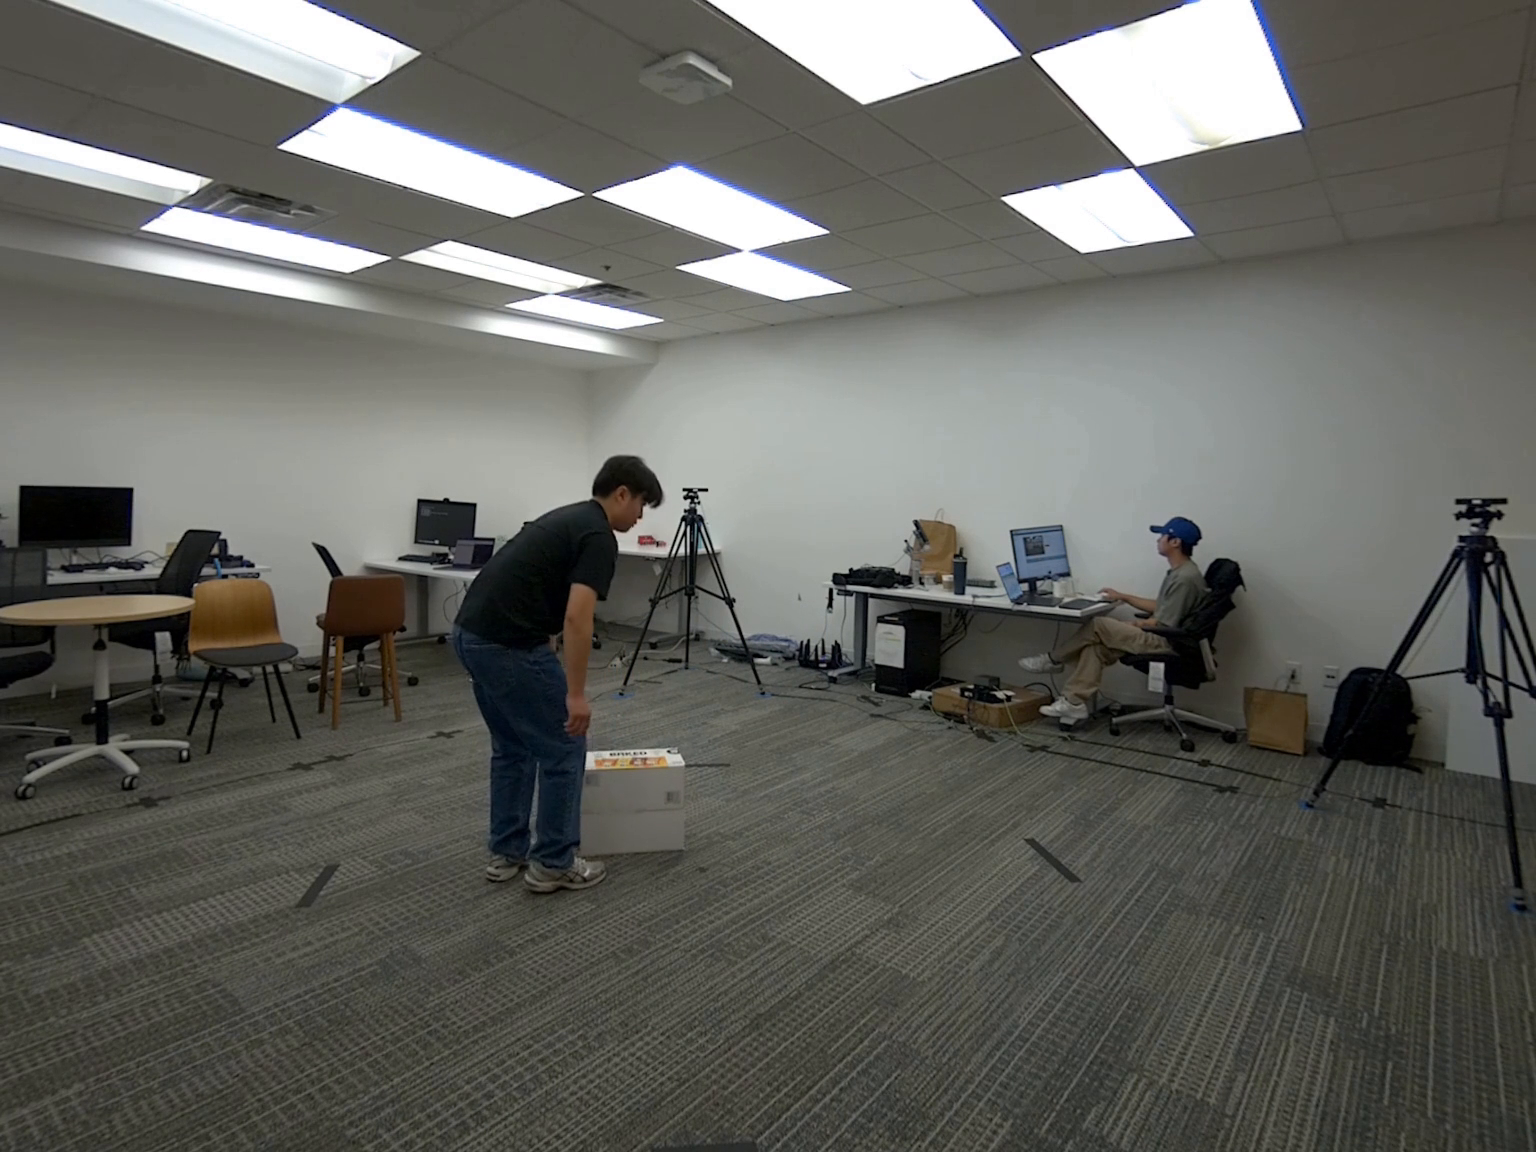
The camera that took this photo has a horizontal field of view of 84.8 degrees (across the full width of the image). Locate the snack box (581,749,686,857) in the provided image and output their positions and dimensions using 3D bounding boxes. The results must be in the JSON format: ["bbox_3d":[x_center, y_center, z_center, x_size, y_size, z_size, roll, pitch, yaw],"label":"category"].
[{"bbox_3d":[-0.550,0.874,3.323,0.400,0.338,0.209,0,6,-12],"label":"snack box"}]
